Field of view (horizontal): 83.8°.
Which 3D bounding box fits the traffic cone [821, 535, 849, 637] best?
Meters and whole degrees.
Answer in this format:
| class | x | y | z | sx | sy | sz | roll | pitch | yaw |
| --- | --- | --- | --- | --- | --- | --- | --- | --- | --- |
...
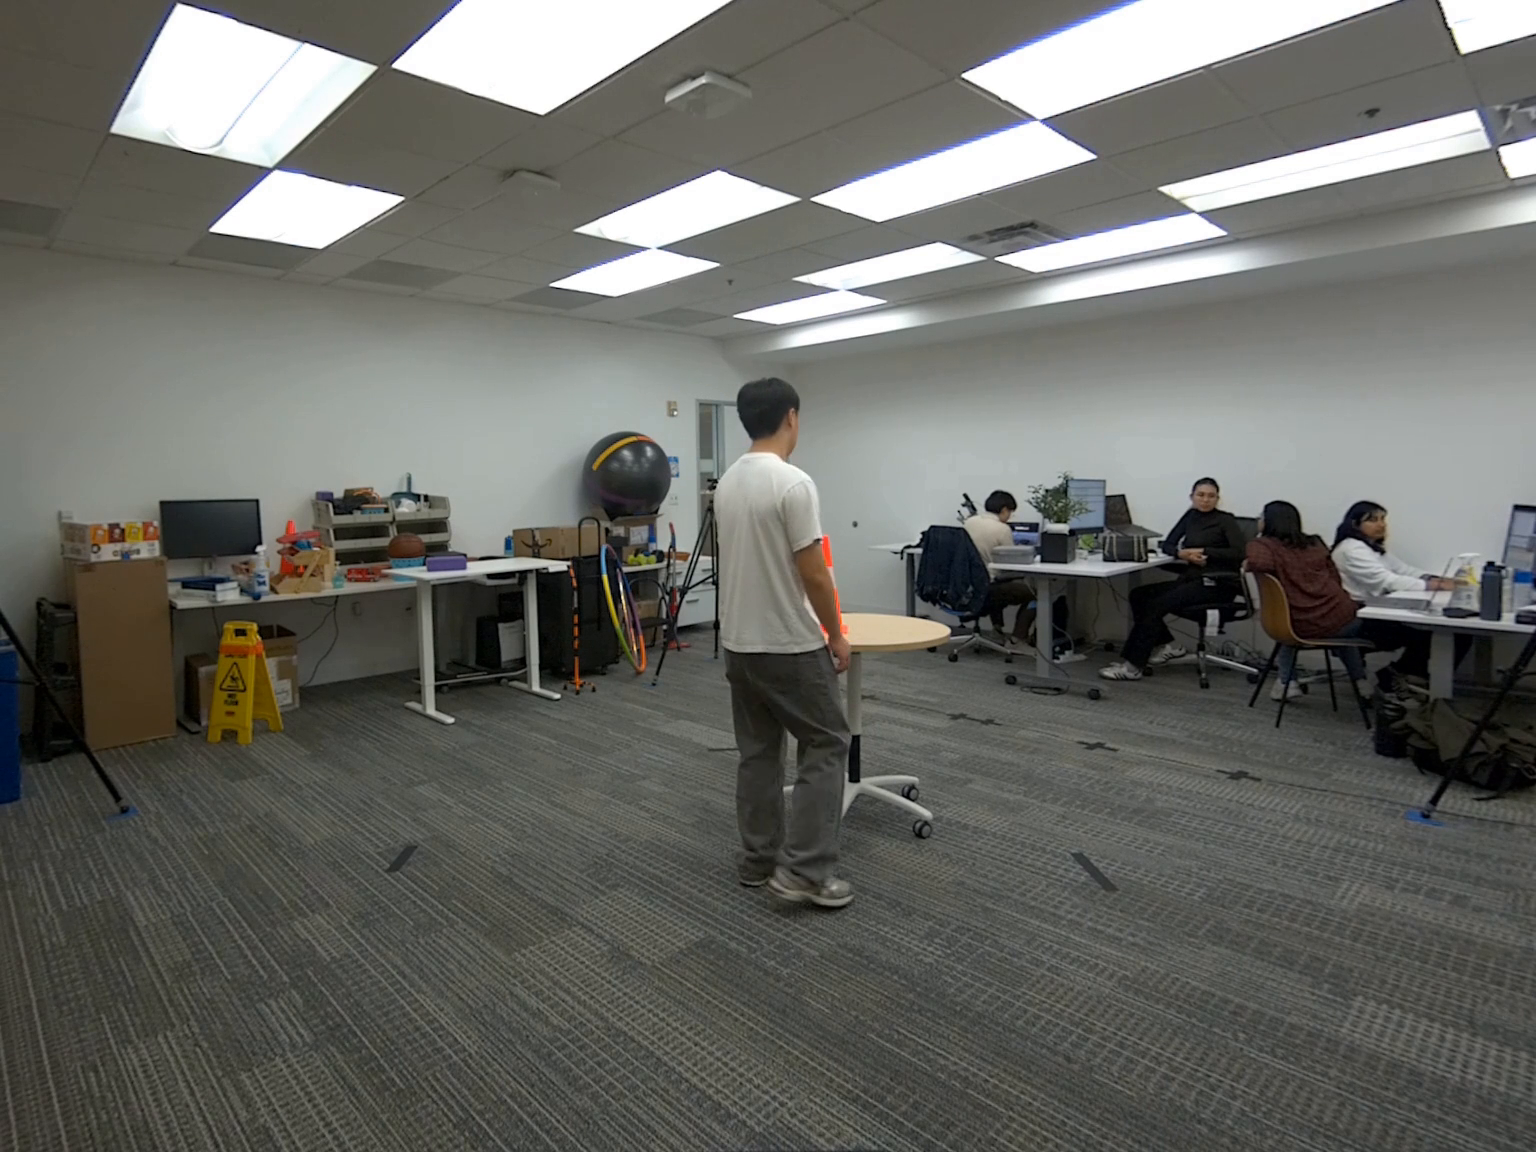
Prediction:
| class | x | y | z | sx | sy | sz | roll | pitch | yaw |
| --- | --- | --- | --- | --- | --- | --- | --- | --- | --- |
| traffic cone | 0.226 | 0.031 | 3.458 | 0.205 | 0.382 | 0.204 | 0 | 6 | 7 |
